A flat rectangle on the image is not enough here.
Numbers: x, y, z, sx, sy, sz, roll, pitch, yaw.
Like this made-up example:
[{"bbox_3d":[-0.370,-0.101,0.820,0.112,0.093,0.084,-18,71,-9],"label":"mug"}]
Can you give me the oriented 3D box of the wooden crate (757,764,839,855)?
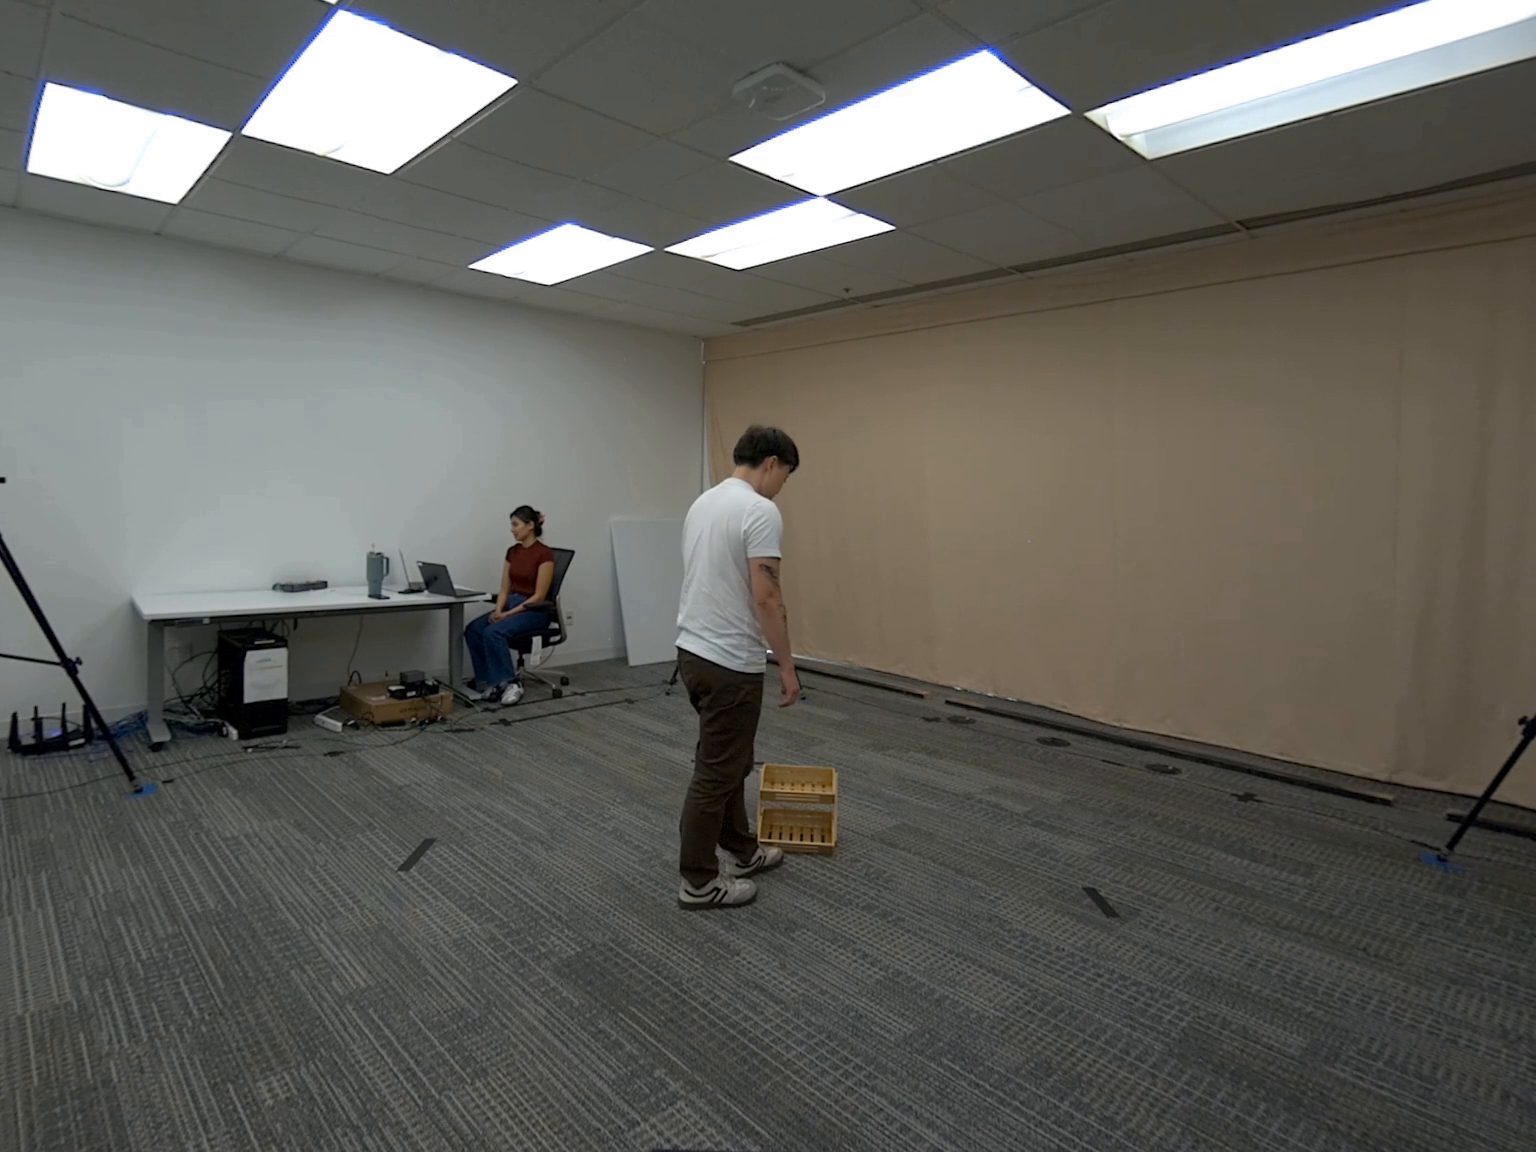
[{"bbox_3d":[0.114,0.944,3.430,0.326,0.272,0.302,2,4,4],"label":"wooden crate"}]
